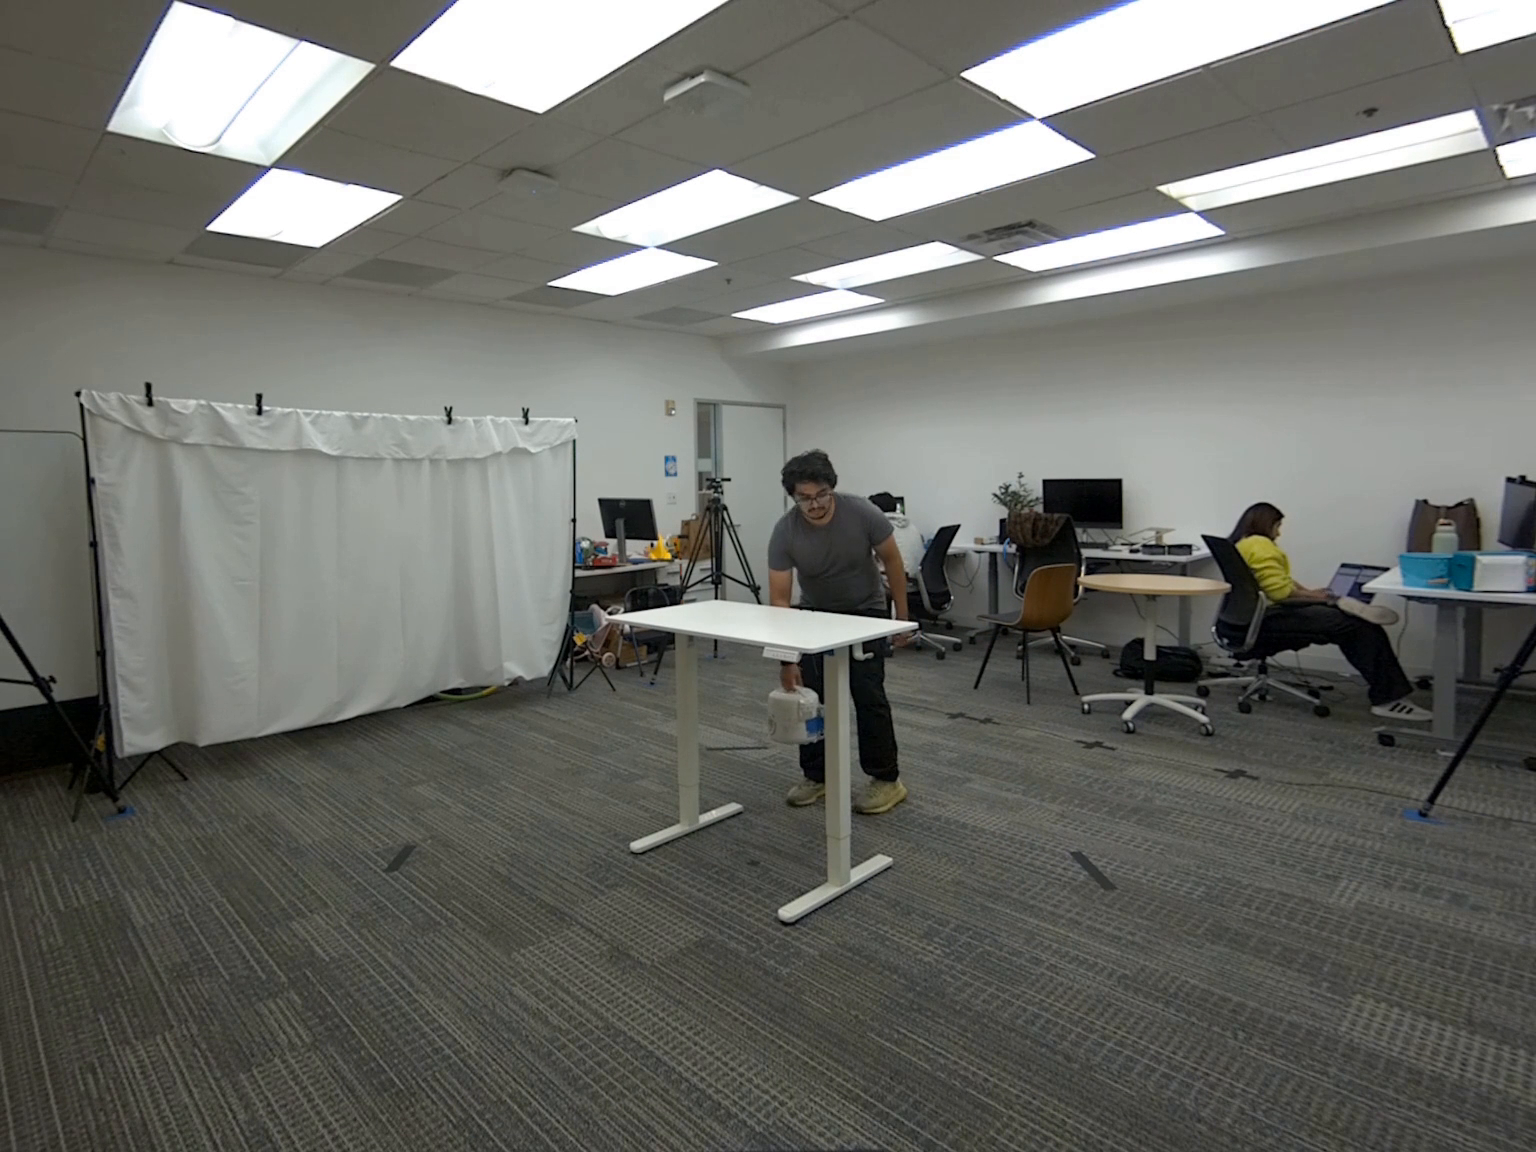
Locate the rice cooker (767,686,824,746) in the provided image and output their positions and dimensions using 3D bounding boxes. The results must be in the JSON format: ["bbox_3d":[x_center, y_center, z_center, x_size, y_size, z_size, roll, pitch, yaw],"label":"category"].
[{"bbox_3d":[0.108,0.565,3.546,0.212,0.232,0.226,-1,2,-26],"label":"rice cooker"}]
